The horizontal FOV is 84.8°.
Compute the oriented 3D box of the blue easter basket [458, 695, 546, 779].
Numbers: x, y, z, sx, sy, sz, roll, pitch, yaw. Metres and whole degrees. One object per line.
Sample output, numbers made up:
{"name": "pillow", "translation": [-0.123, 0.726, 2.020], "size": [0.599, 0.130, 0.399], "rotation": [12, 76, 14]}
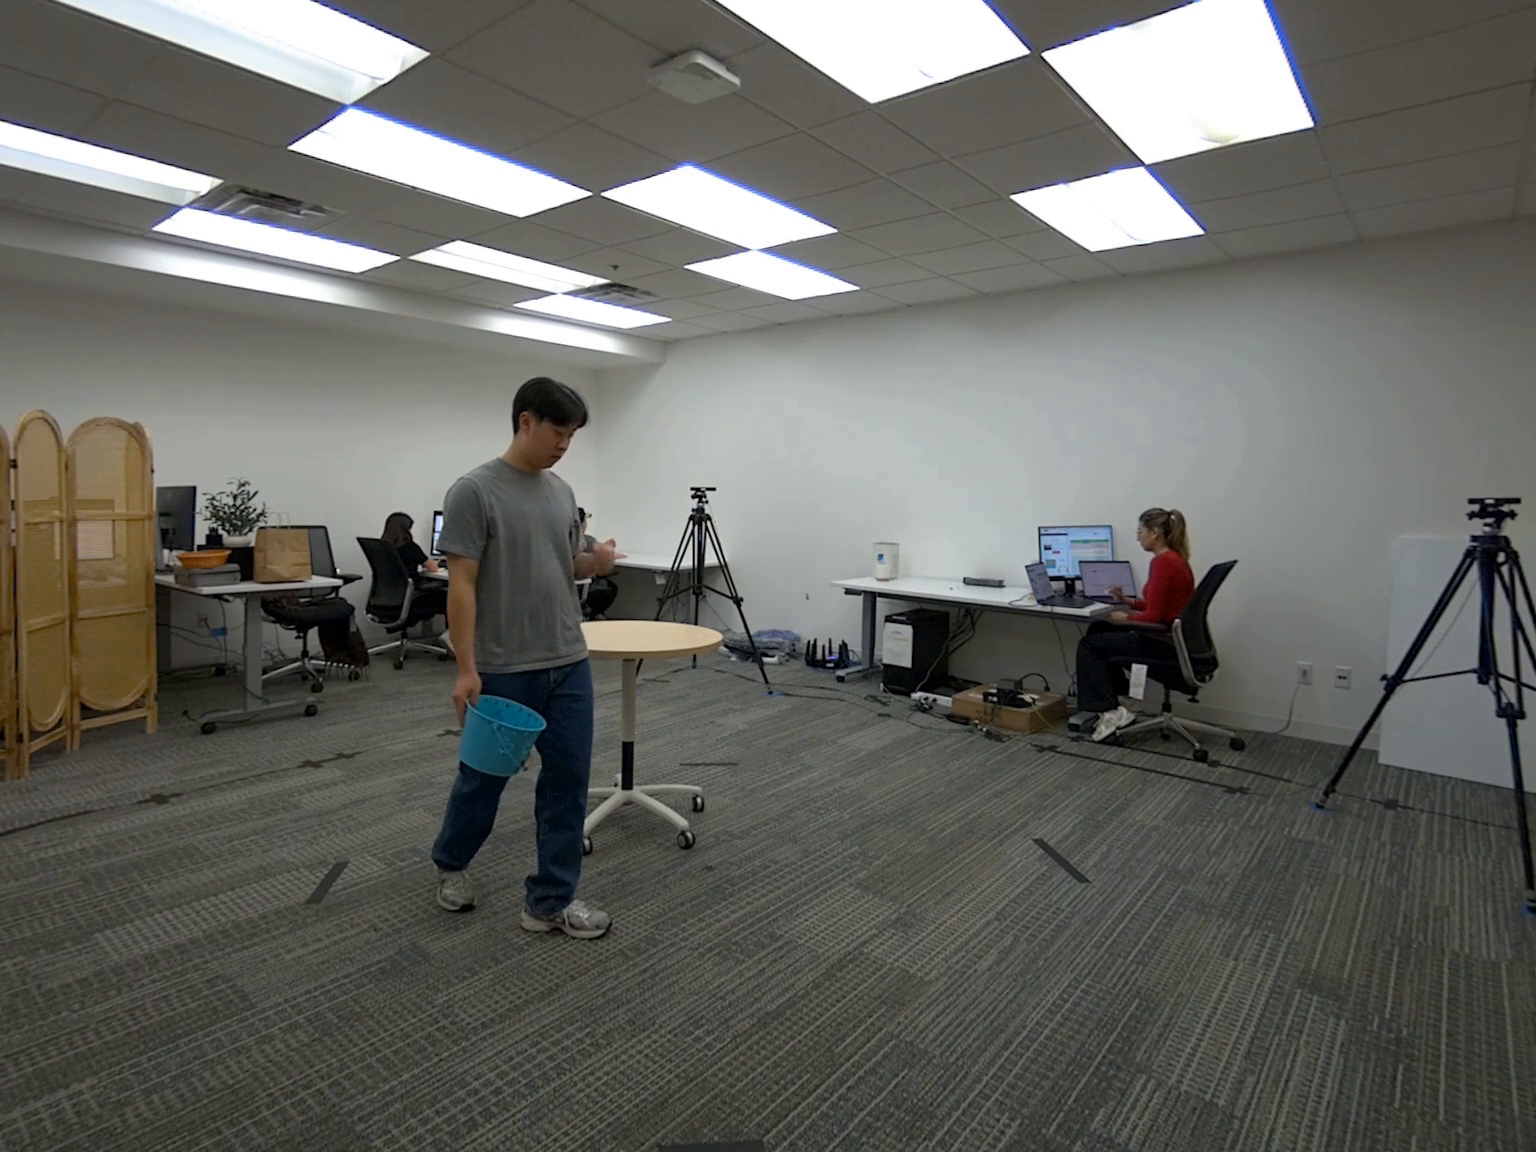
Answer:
{"name": "blue easter basket", "translation": [-0.771, 0.455, 2.417], "size": [0.243, 0.155, 0.244], "rotation": [19, 3, -3]}
